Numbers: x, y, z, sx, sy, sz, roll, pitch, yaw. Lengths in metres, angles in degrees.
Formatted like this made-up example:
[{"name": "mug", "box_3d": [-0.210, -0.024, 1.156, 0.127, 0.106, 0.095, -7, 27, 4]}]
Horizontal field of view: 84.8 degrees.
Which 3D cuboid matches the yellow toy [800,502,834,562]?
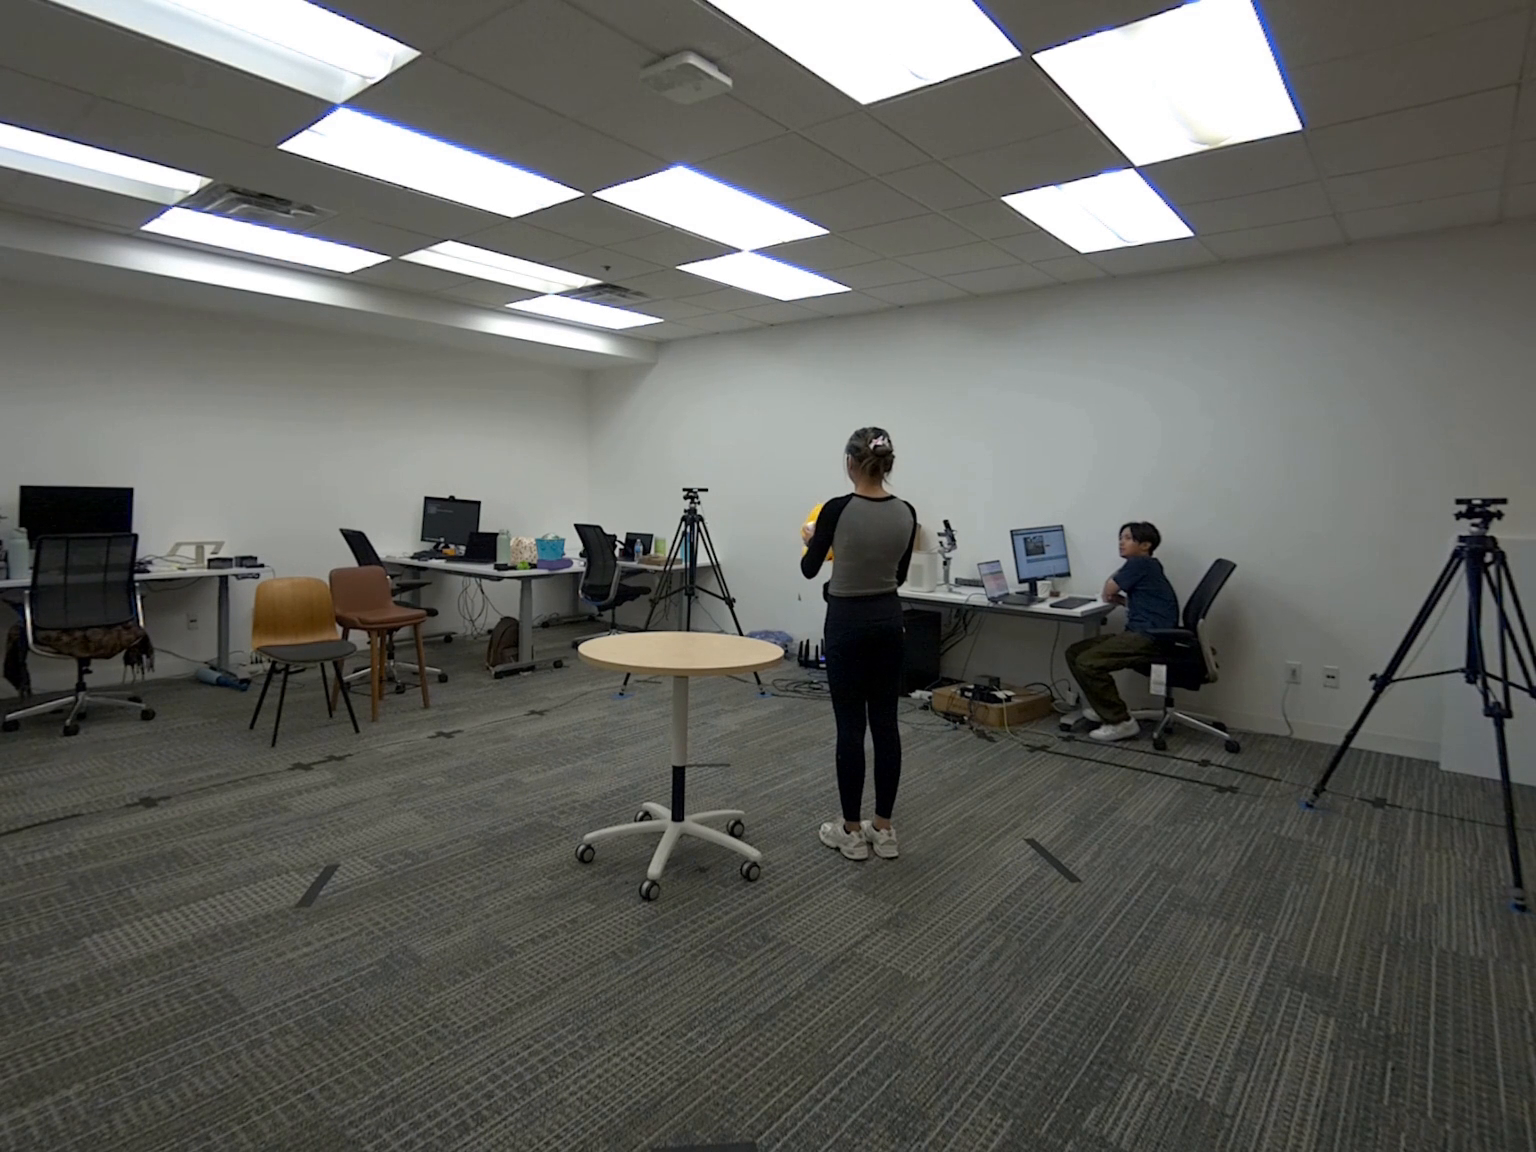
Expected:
[{"name": "yellow toy", "box_3d": [0.231, -0.192, 3.683, 0.206, 0.224, 0.198, -8, 32, 6]}]
